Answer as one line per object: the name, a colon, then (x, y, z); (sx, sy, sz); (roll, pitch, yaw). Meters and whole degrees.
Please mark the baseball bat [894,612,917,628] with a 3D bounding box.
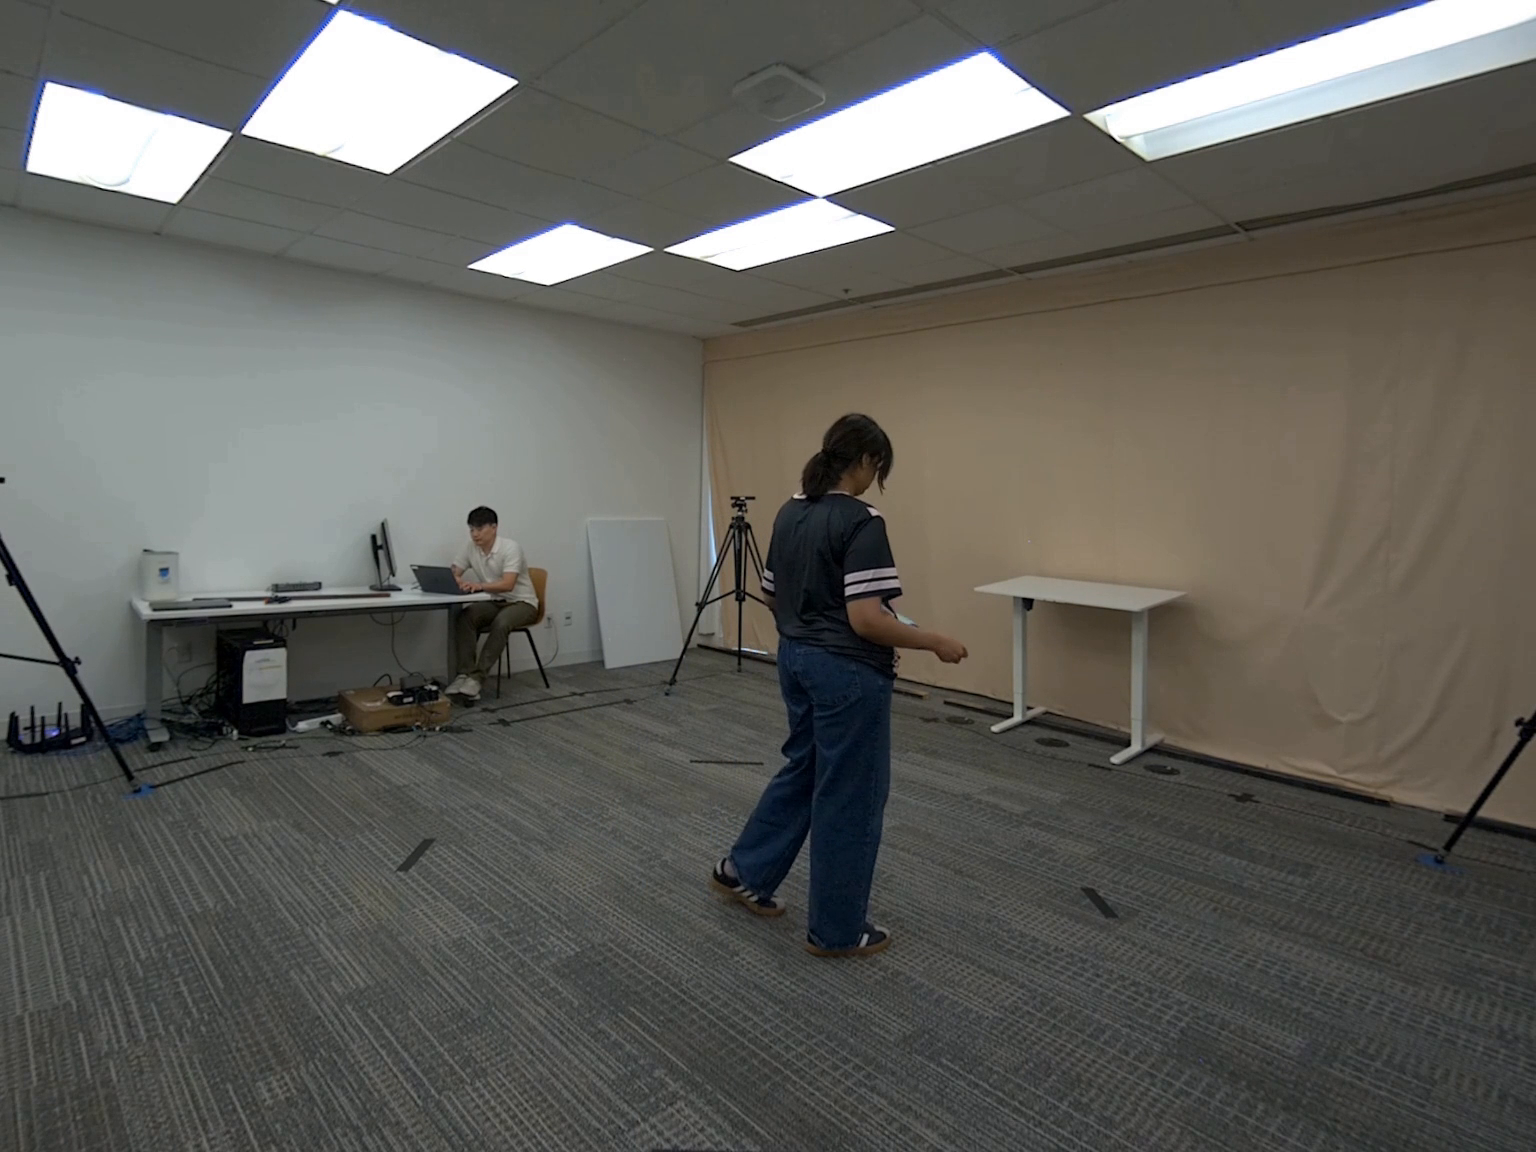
baseball bat: (0.449, 0.195, 2.797); (0.088, 0.088, 0.549); (1, 9, -8)
